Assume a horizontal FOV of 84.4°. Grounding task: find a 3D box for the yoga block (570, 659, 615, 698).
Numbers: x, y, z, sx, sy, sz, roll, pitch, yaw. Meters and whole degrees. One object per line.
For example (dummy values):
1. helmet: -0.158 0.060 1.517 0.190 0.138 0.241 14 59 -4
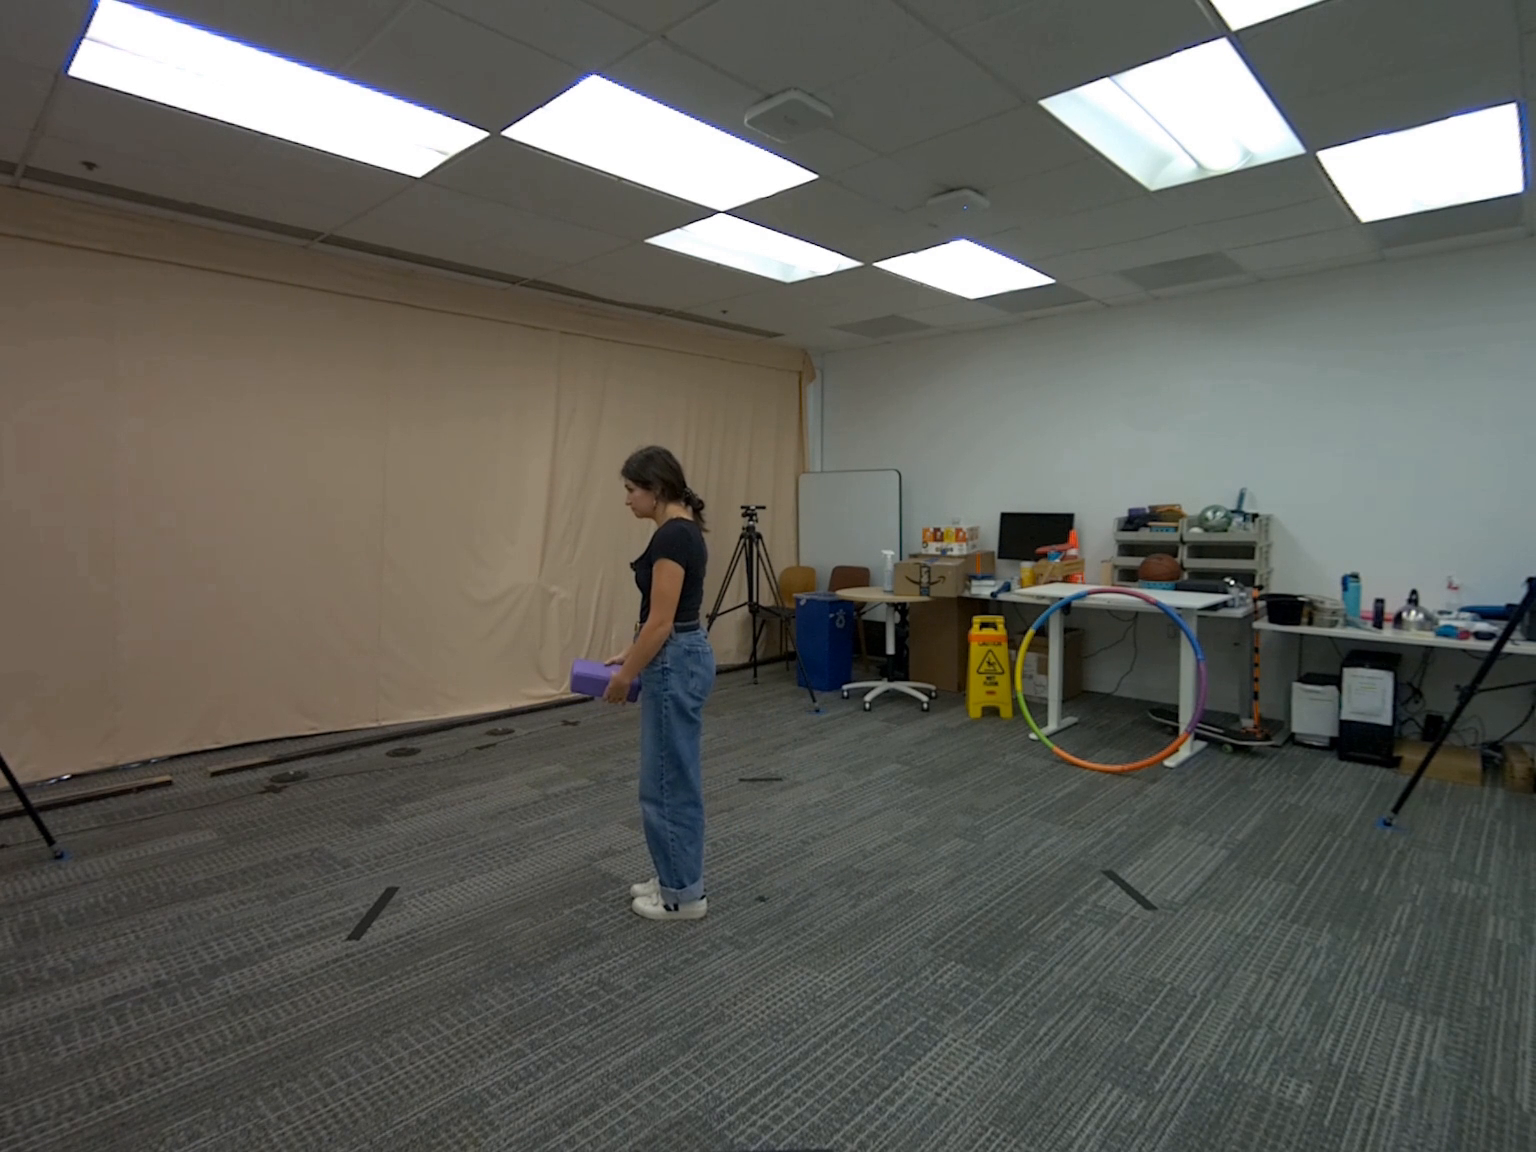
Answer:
1. yoga block: -0.543 0.369 2.871 0.229 0.076 0.150 10 10 -2
